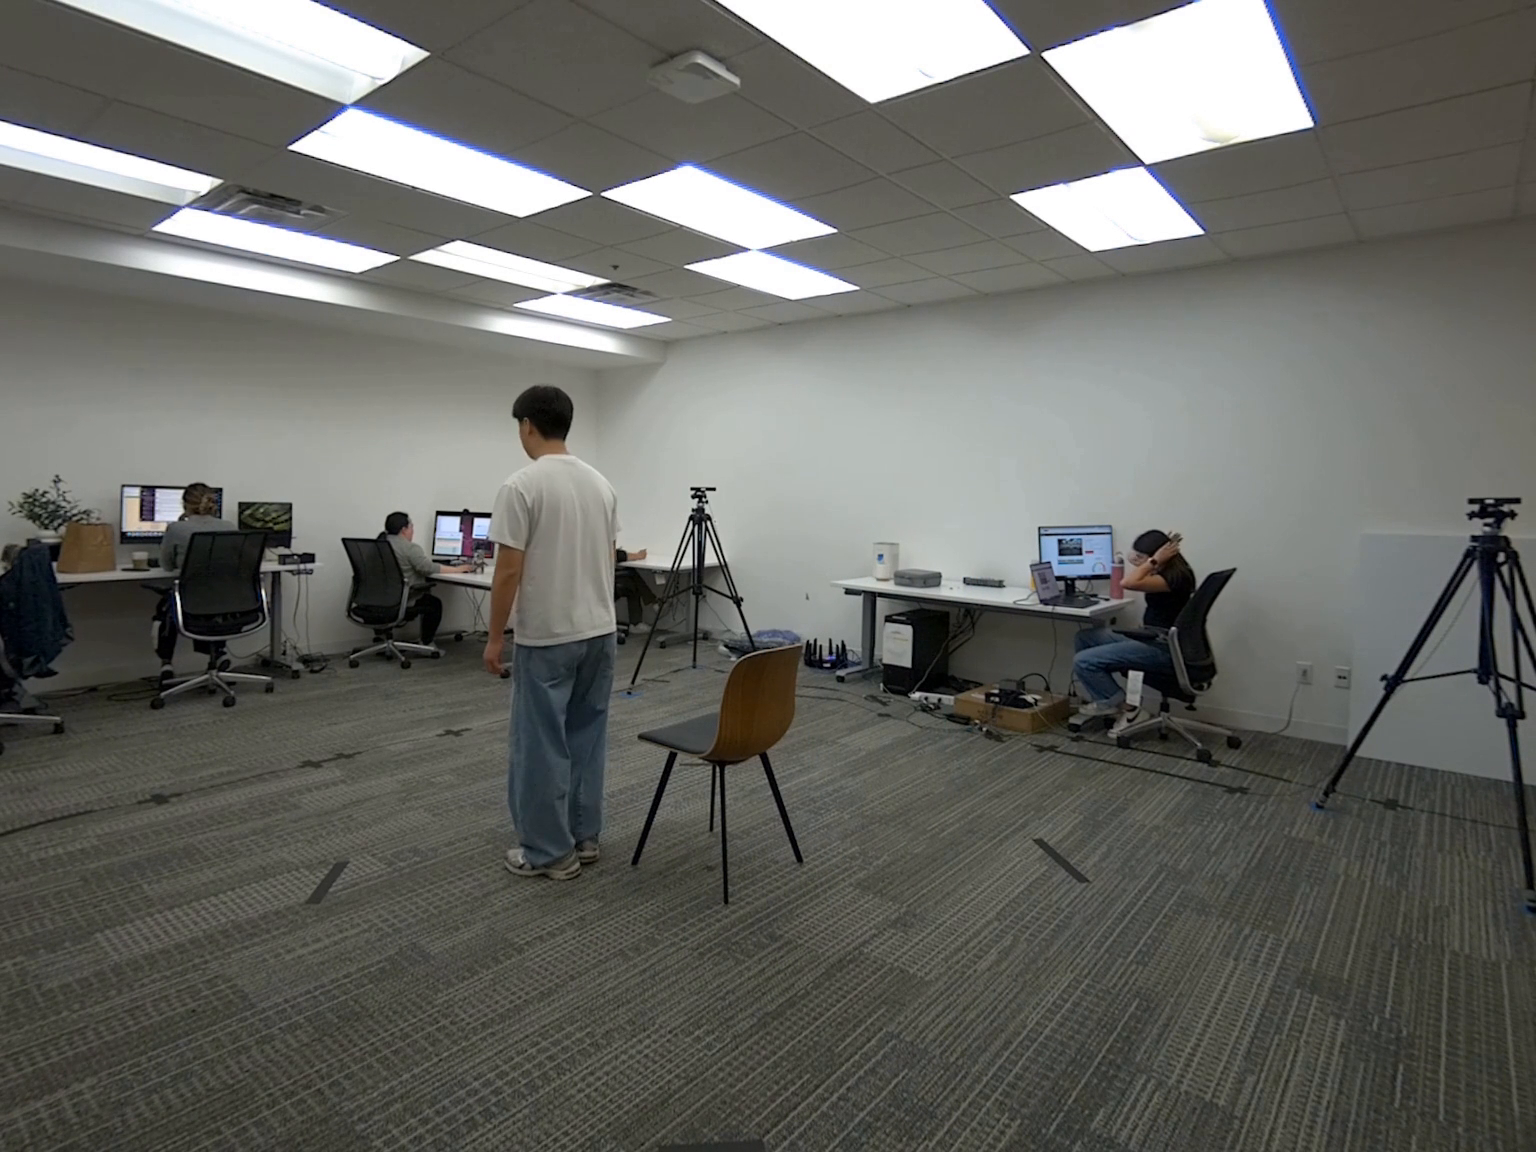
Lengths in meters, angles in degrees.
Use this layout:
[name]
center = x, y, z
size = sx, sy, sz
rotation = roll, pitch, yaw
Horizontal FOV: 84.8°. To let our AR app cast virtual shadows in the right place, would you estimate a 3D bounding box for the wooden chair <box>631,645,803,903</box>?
[wooden chair]
center = -0.193, 0.639, 3.126
size = 0.542, 0.873, 0.464
rotation = 9, 7, 38
